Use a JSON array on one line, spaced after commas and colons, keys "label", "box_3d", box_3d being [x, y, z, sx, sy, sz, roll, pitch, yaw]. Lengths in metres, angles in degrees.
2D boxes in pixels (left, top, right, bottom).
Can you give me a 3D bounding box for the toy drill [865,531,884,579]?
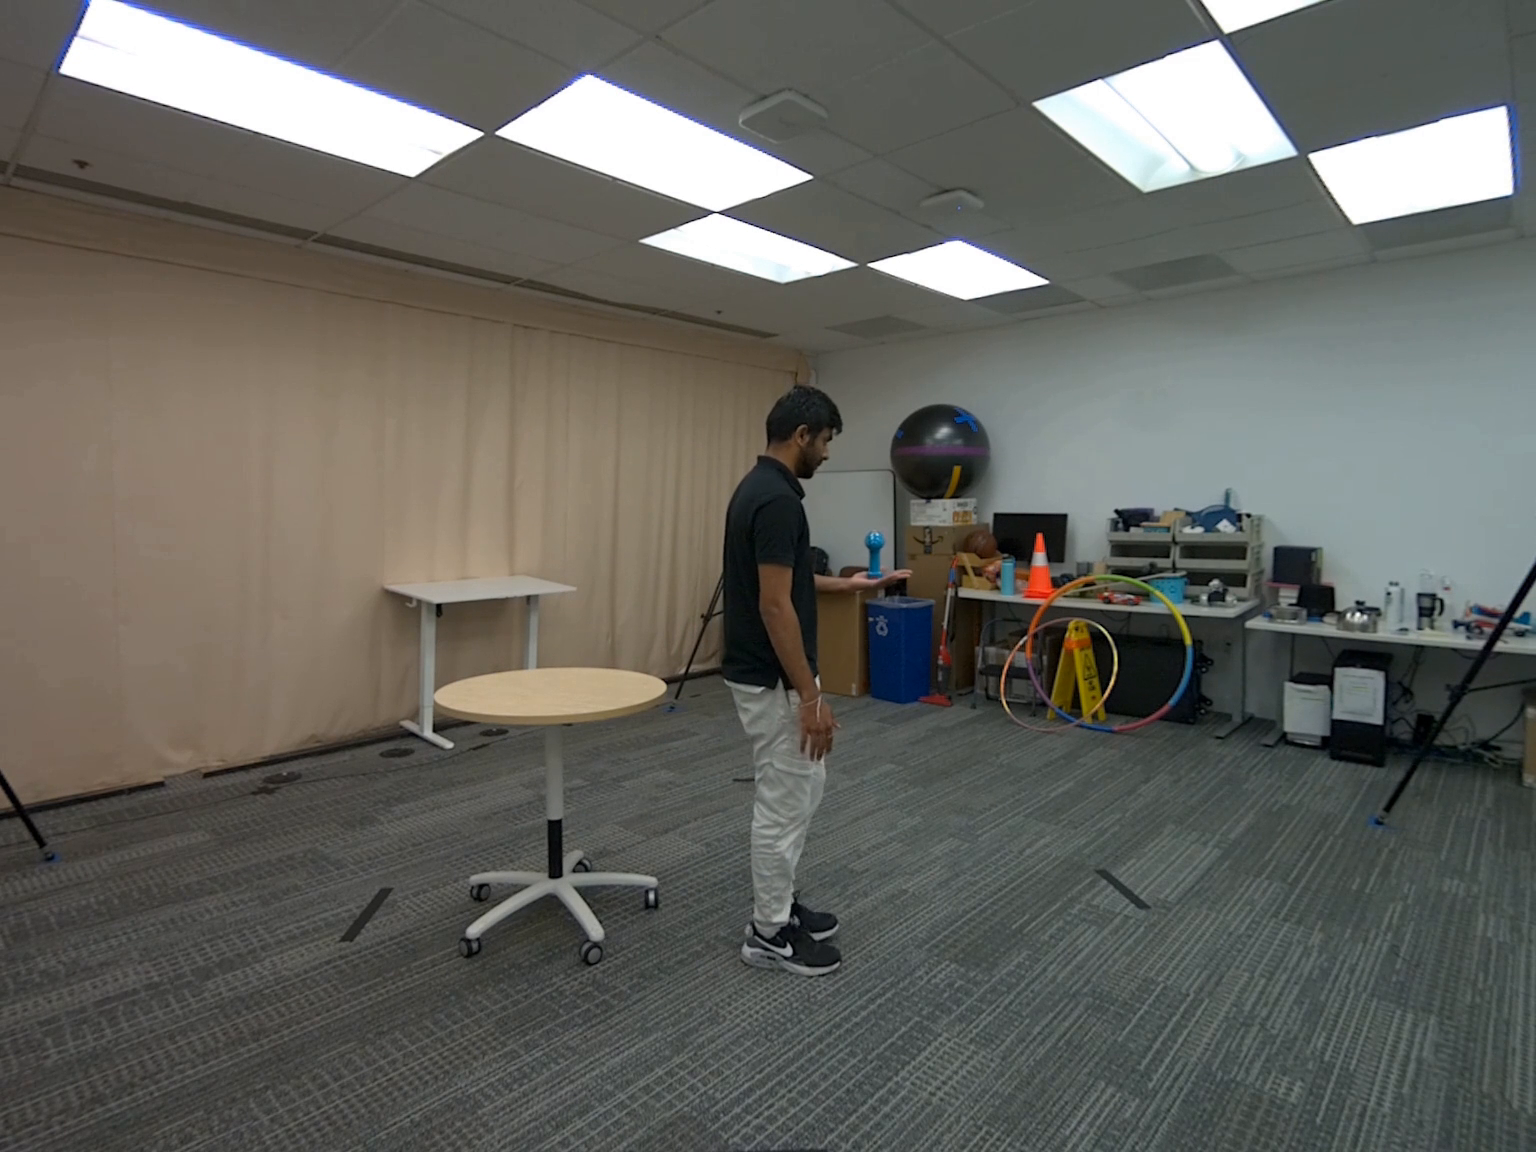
[{"label": "toy drill", "box_3d": [0.338, -0.071, 2.649, 0.062, 0.145, 0.169, 2, 7, 6]}]
